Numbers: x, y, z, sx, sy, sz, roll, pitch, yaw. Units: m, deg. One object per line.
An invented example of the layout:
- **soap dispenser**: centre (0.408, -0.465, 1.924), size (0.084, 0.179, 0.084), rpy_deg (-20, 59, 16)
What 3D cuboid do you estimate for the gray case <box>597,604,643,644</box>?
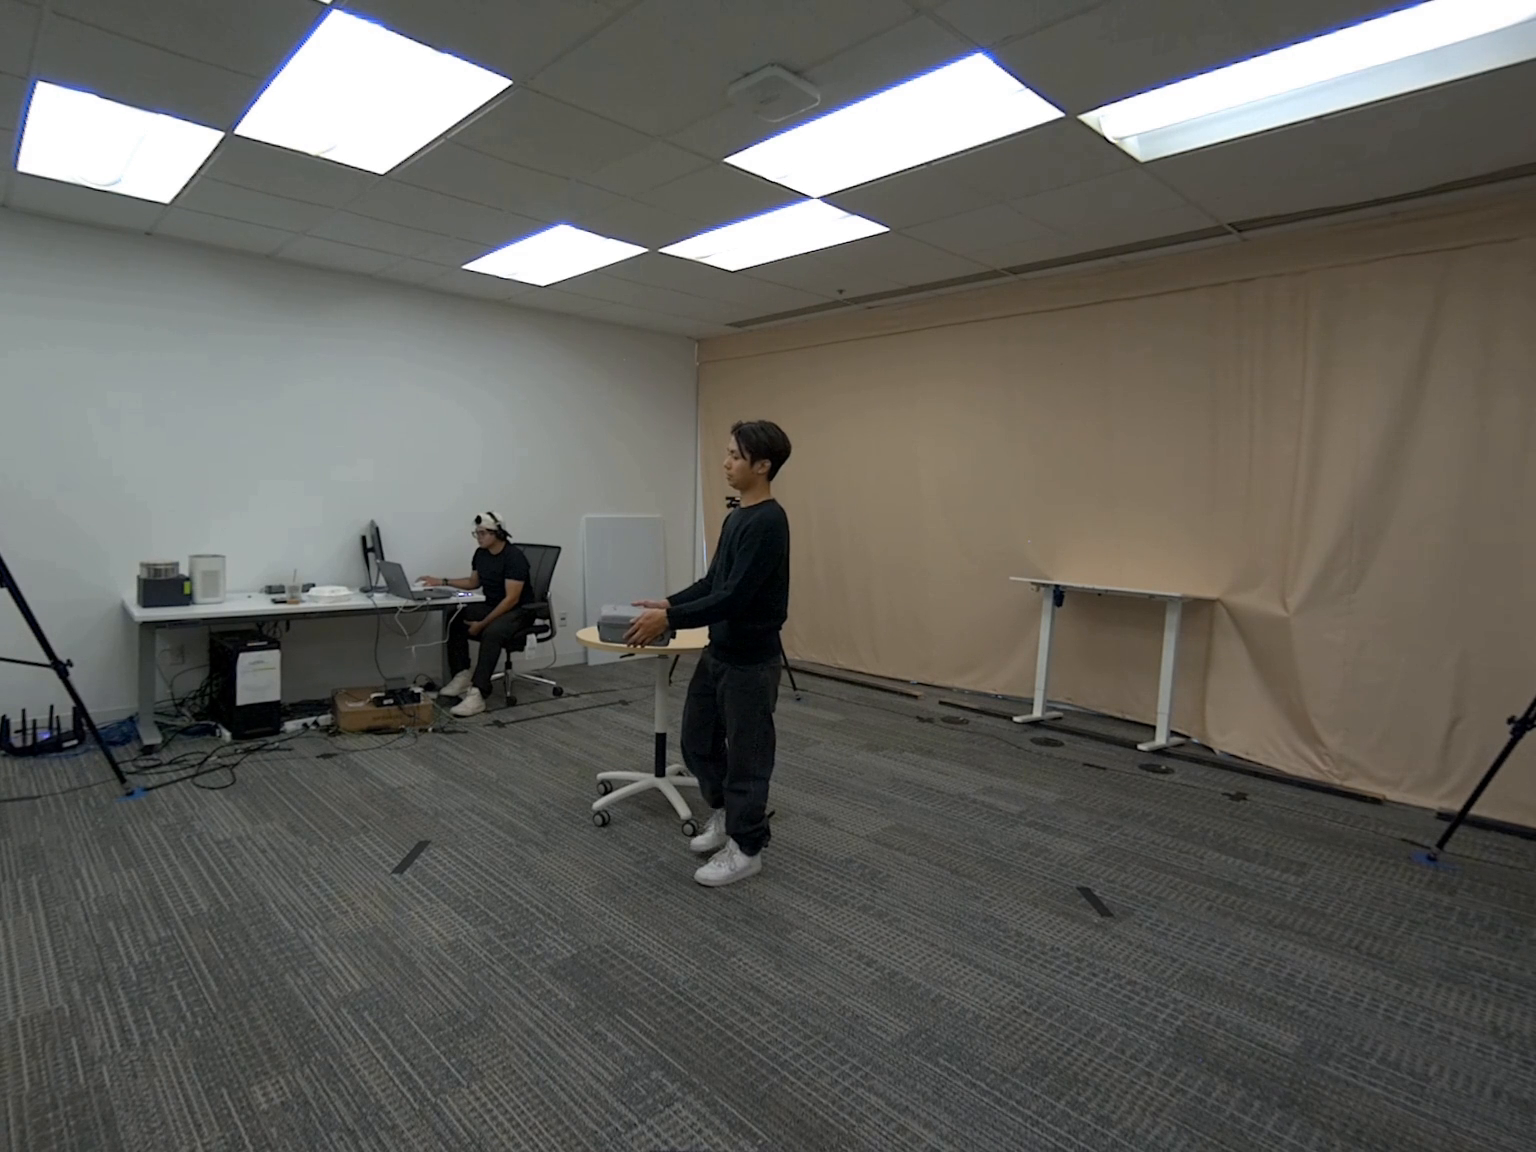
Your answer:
- **gray case**: centre (-0.475, 0.171, 2.989), size (0.260, 0.104, 0.258), rpy_deg (5, 3, -4)
